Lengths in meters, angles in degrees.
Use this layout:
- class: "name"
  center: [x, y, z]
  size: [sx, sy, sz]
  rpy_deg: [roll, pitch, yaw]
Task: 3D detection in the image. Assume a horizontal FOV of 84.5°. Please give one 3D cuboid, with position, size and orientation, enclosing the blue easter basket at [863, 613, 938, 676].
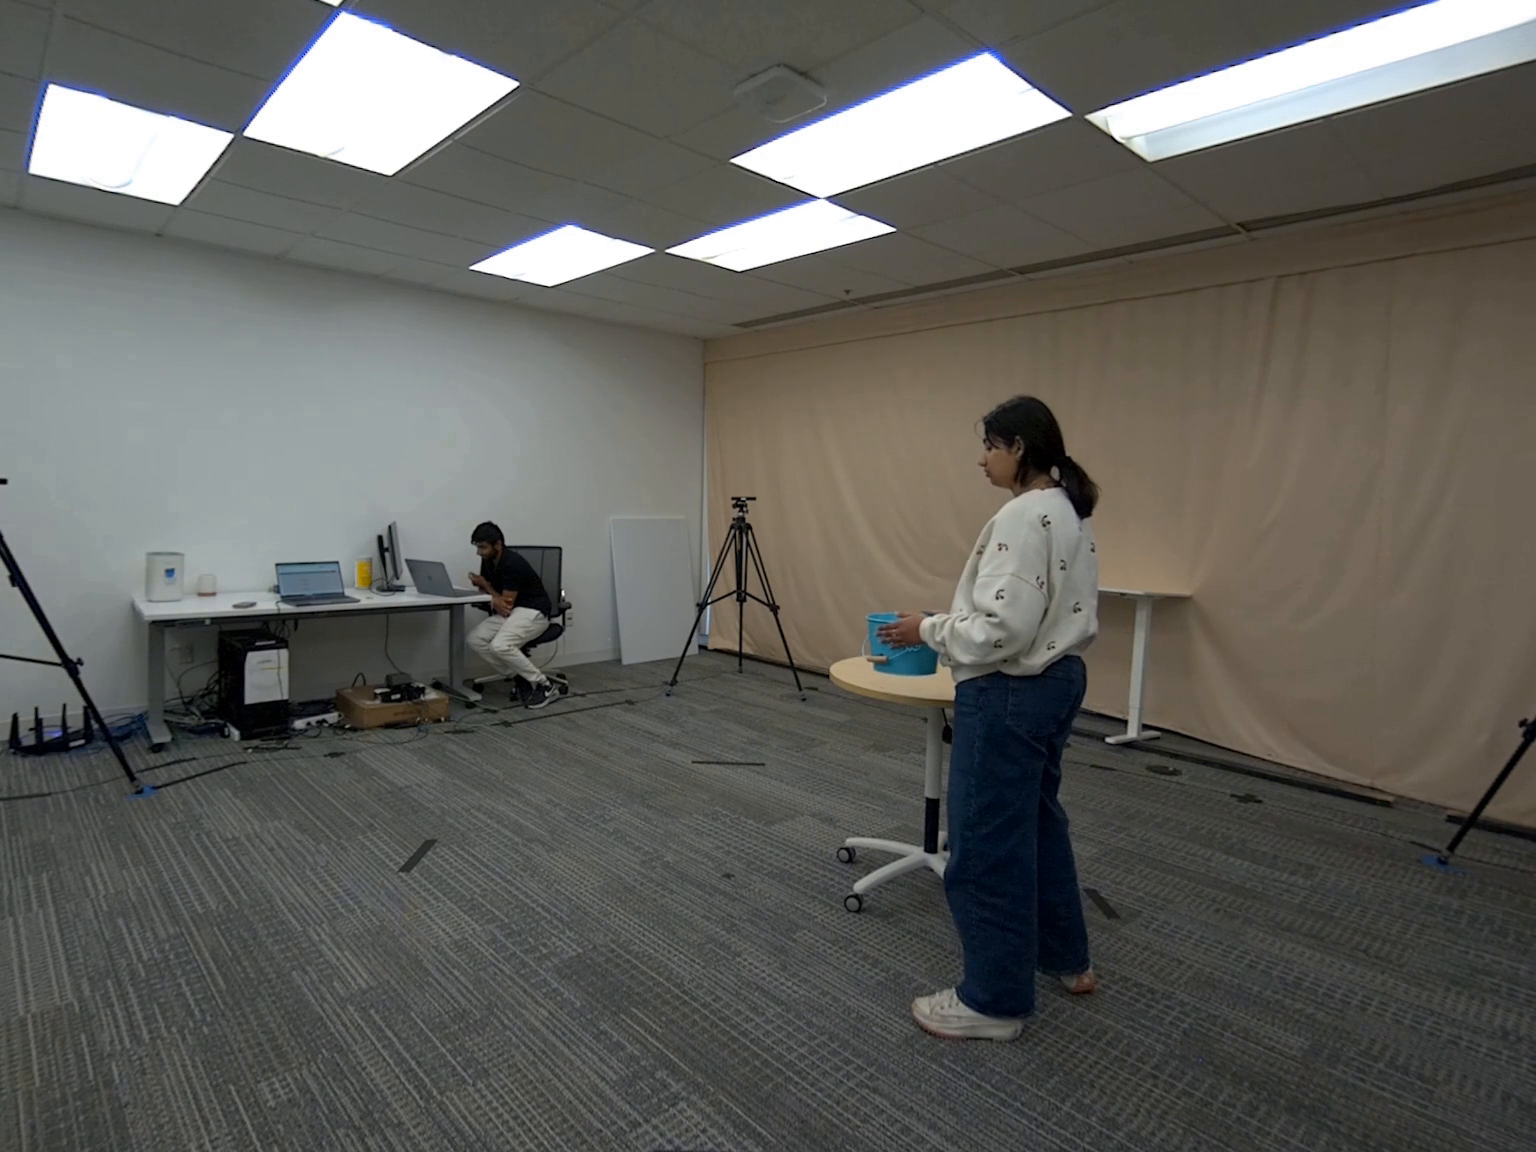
- class: "blue easter basket"
  center: [0.406, 0.208, 2.417]
  size: [0.243, 0.155, 0.244]
  rpy_deg: [2, 5, -2]
